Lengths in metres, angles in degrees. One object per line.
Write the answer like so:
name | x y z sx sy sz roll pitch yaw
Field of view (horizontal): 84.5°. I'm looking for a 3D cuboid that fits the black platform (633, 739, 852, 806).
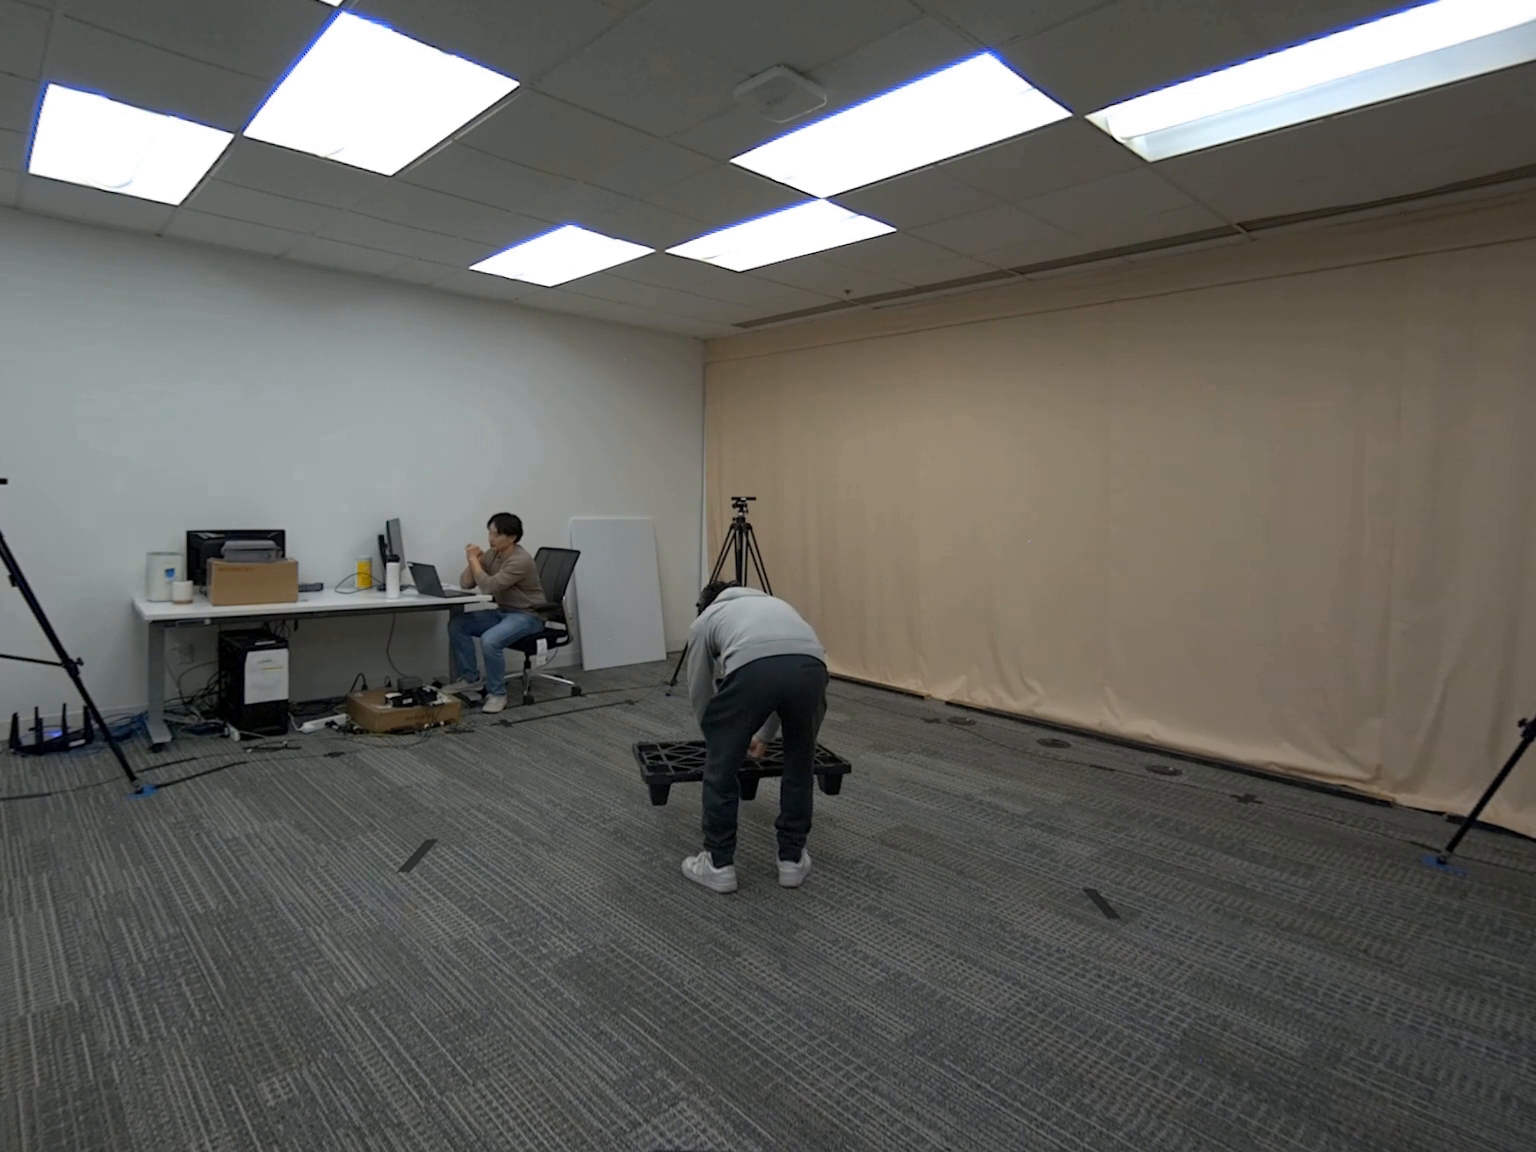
black platform | -0.140 0.795 3.451 0.798 0.143 0.610 0 0 -11
